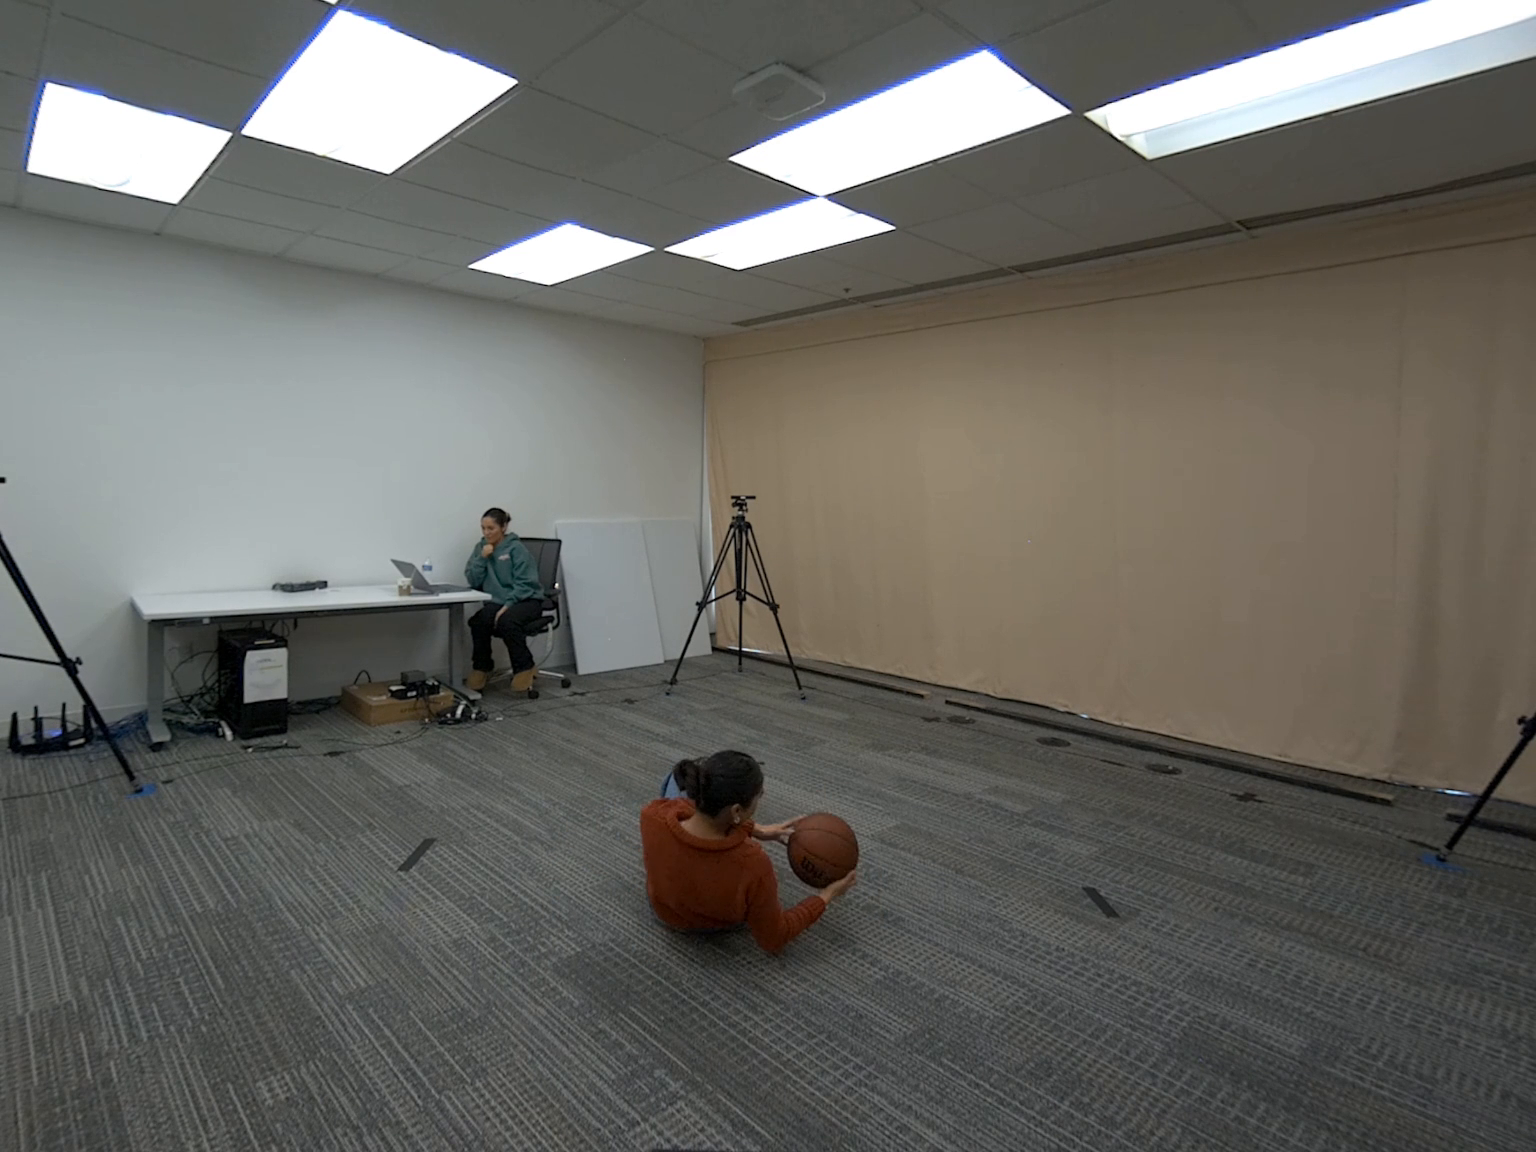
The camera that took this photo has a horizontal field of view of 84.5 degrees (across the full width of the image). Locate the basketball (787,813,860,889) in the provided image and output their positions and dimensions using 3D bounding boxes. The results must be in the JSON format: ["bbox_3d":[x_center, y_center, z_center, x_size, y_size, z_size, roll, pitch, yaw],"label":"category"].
[{"bbox_3d":[0.172,0.893,2.766,0.236,0.235,0.237,1,4,-1],"label":"basketball"}]
